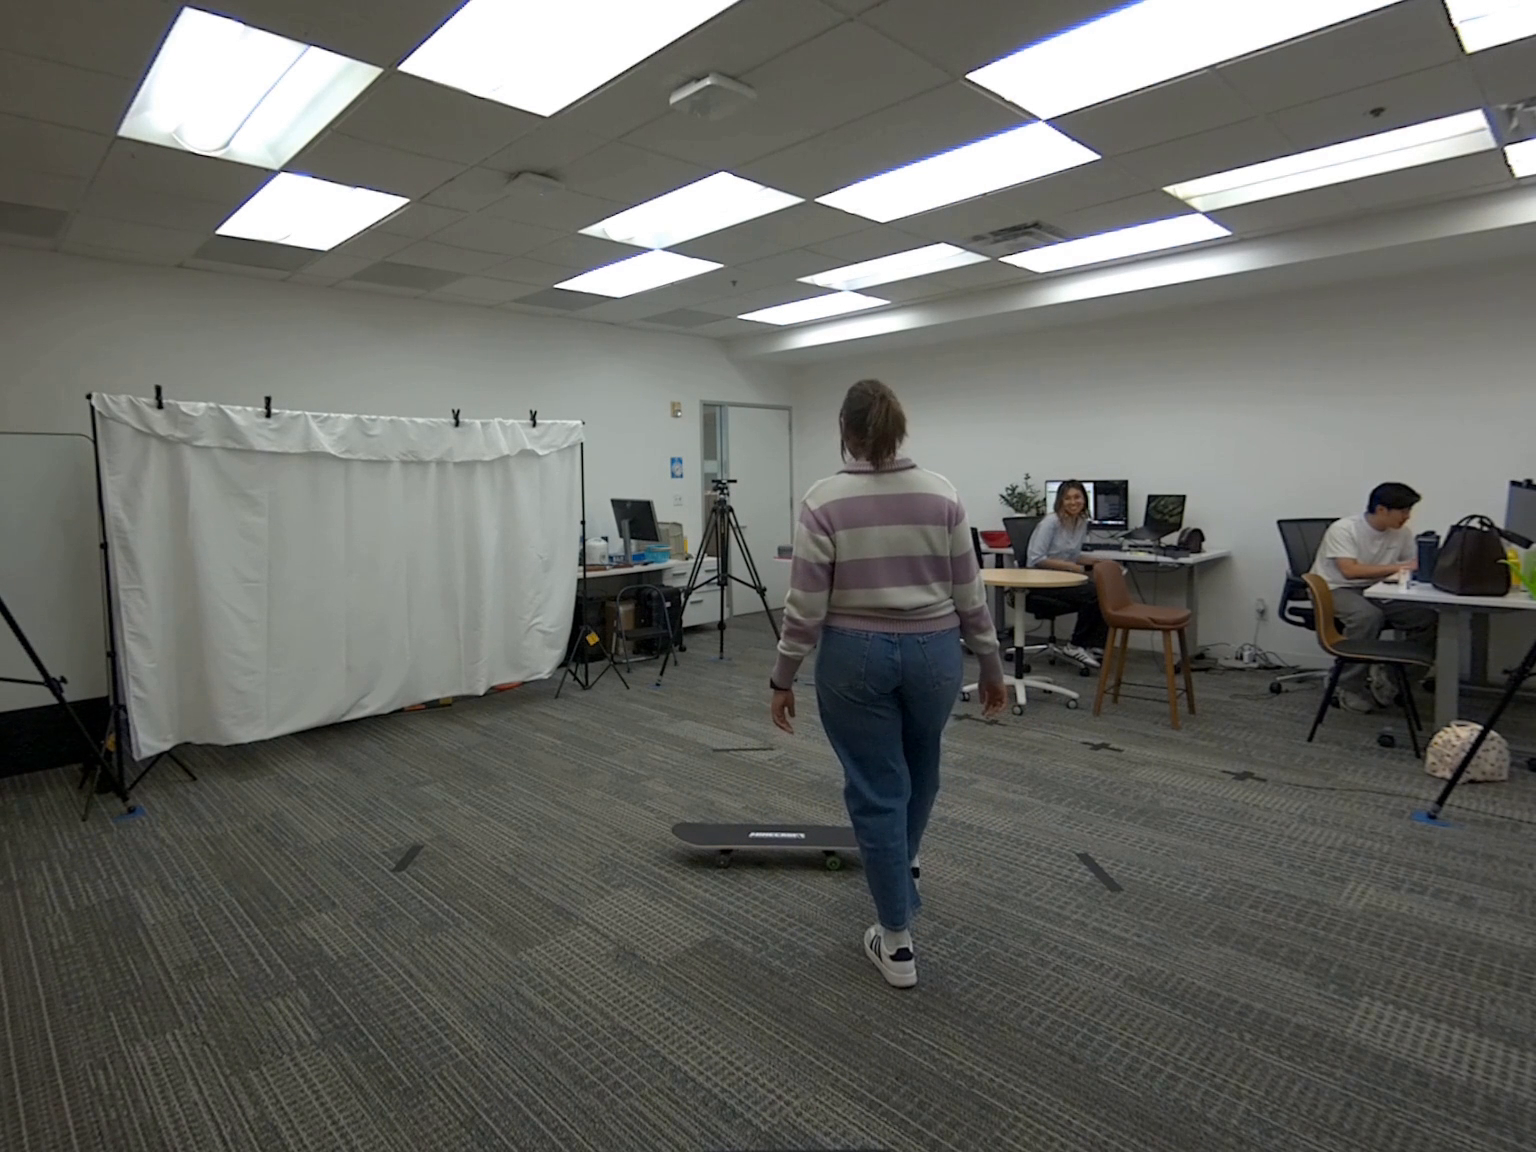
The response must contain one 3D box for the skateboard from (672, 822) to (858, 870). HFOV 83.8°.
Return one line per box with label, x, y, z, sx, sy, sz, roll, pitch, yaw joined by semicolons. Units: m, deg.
skateboard;0.042;0.984;3.140;0.789;0.110;0.193;0;6;5
